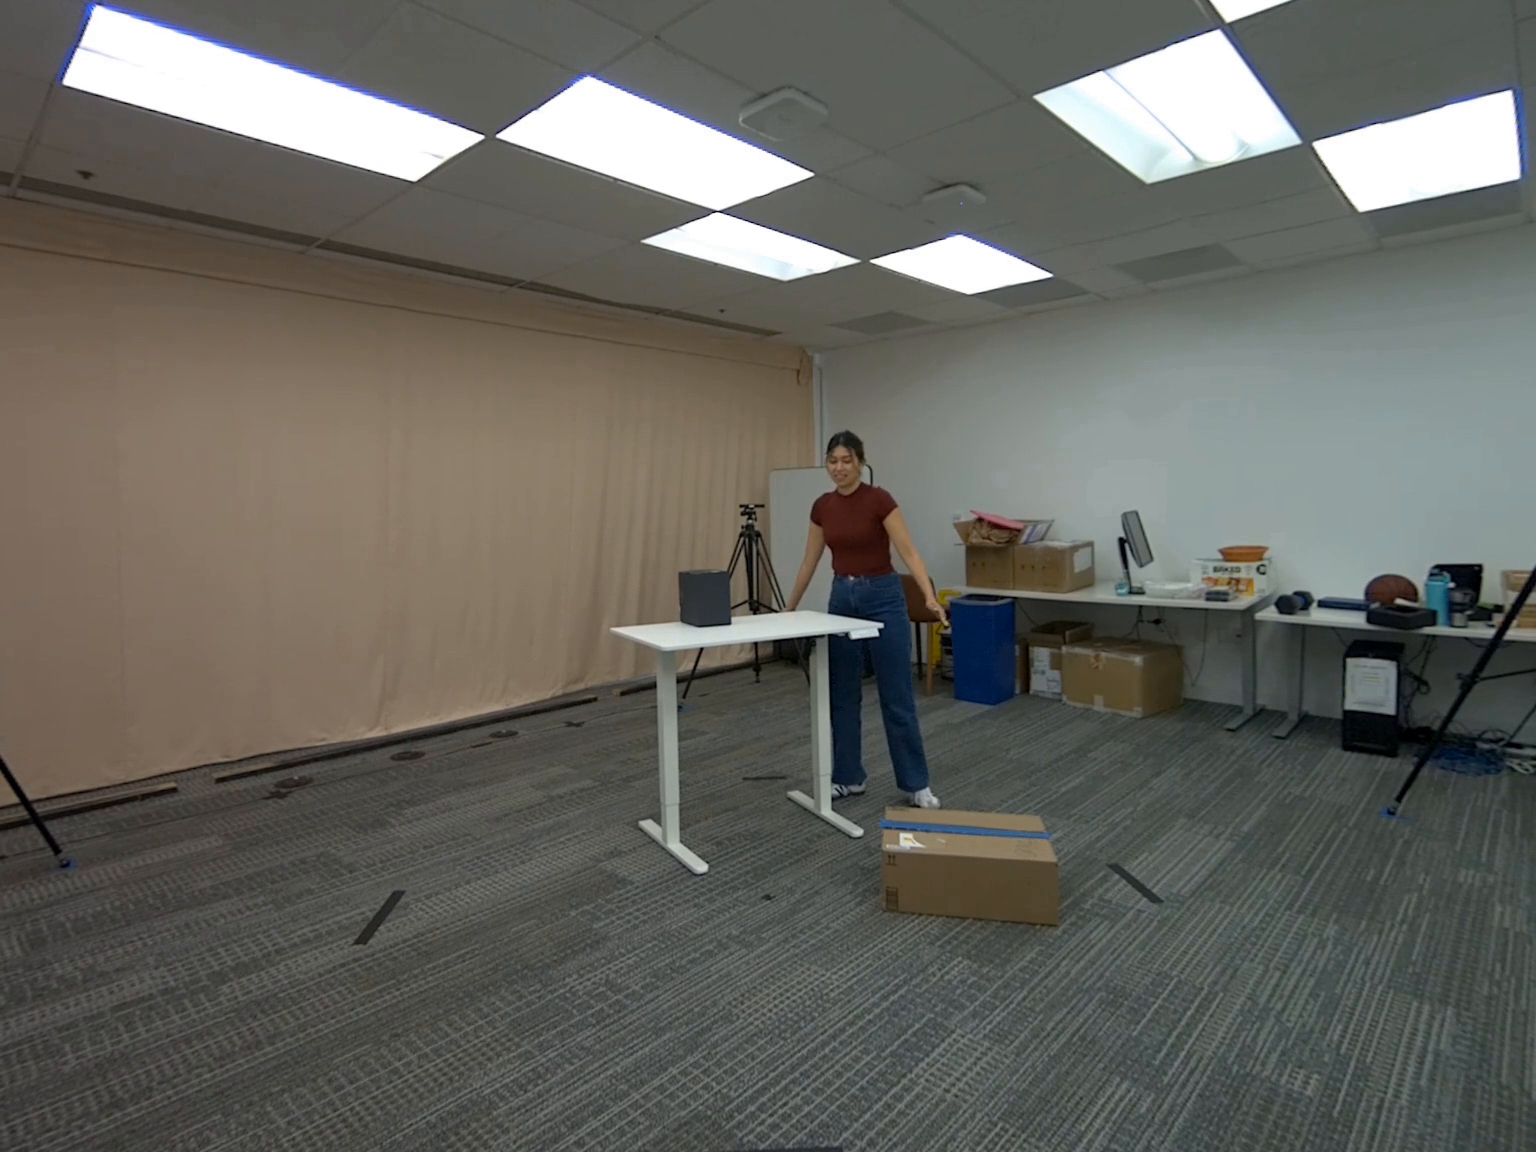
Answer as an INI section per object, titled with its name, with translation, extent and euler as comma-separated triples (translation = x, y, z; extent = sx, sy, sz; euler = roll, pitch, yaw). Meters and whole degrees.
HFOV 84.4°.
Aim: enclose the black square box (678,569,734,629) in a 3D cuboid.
[black square box]
translation = -0.273, 0.093, 3.671
extent = 0.152, 0.227, 0.222
euler = -3, 3, -27
